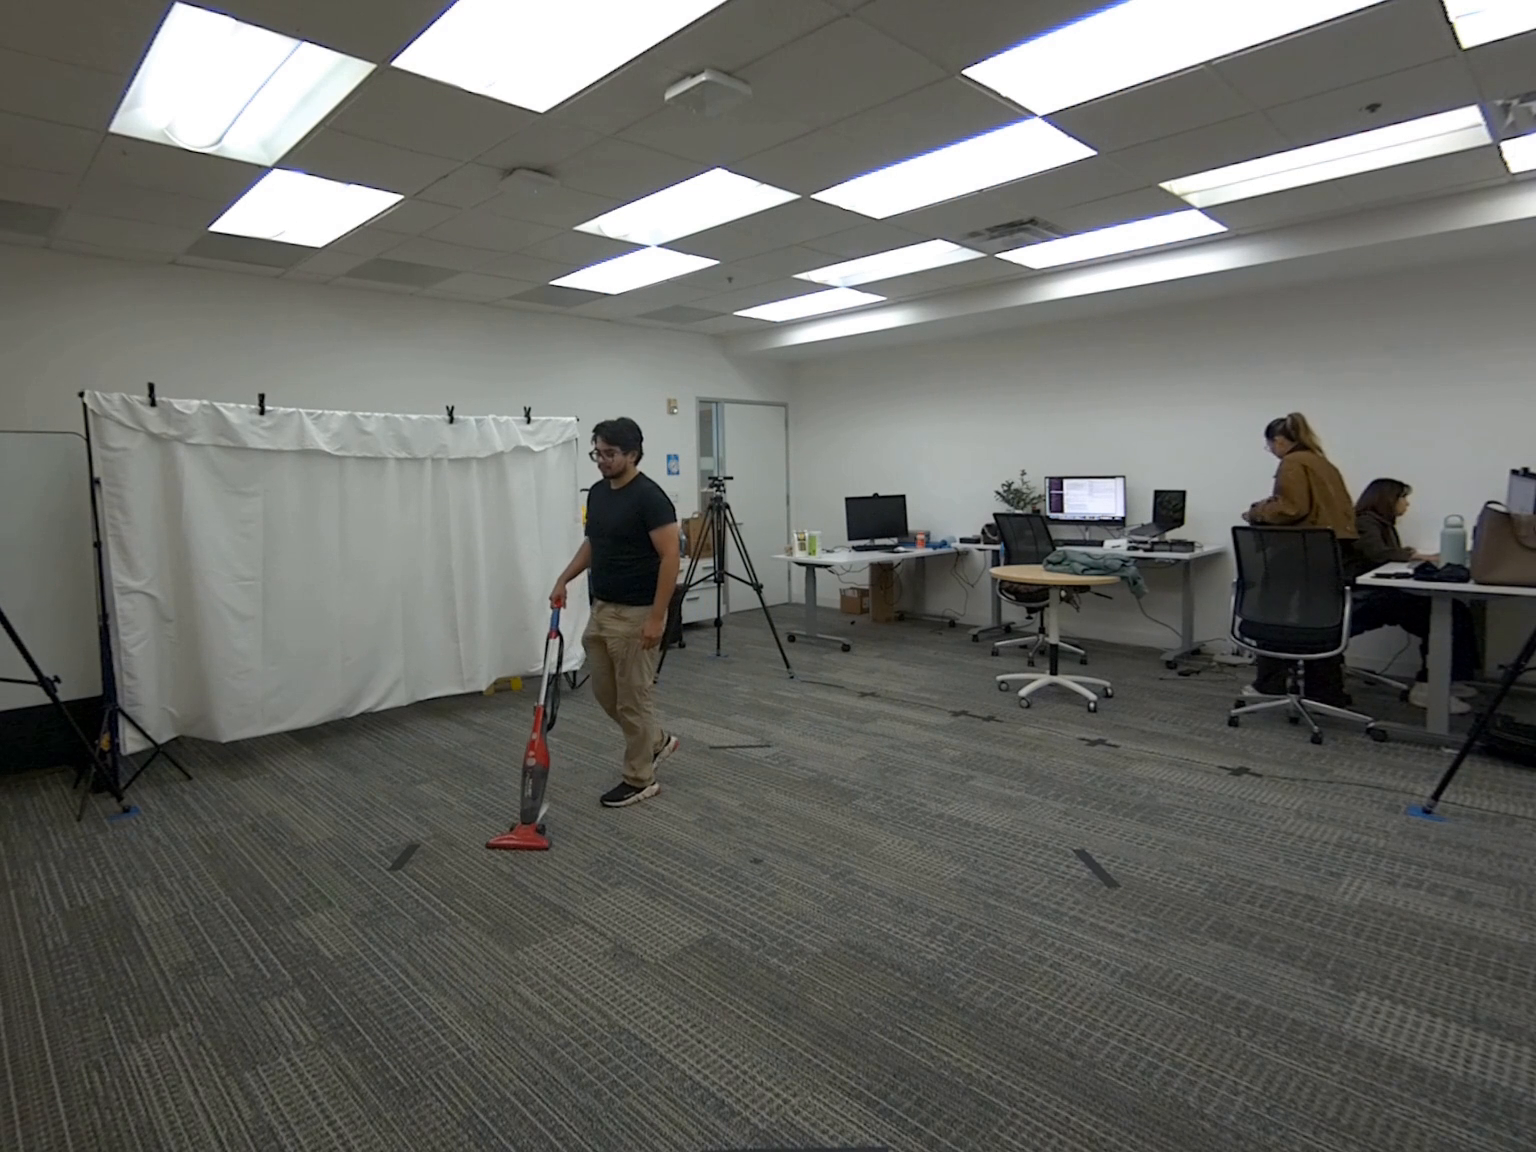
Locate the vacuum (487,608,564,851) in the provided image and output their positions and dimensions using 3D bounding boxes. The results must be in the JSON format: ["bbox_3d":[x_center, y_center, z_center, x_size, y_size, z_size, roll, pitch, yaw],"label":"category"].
[{"bbox_3d":[-0.935,0.559,3.571,0.255,1.072,0.139,-3,-29,9],"label":"vacuum"}]
